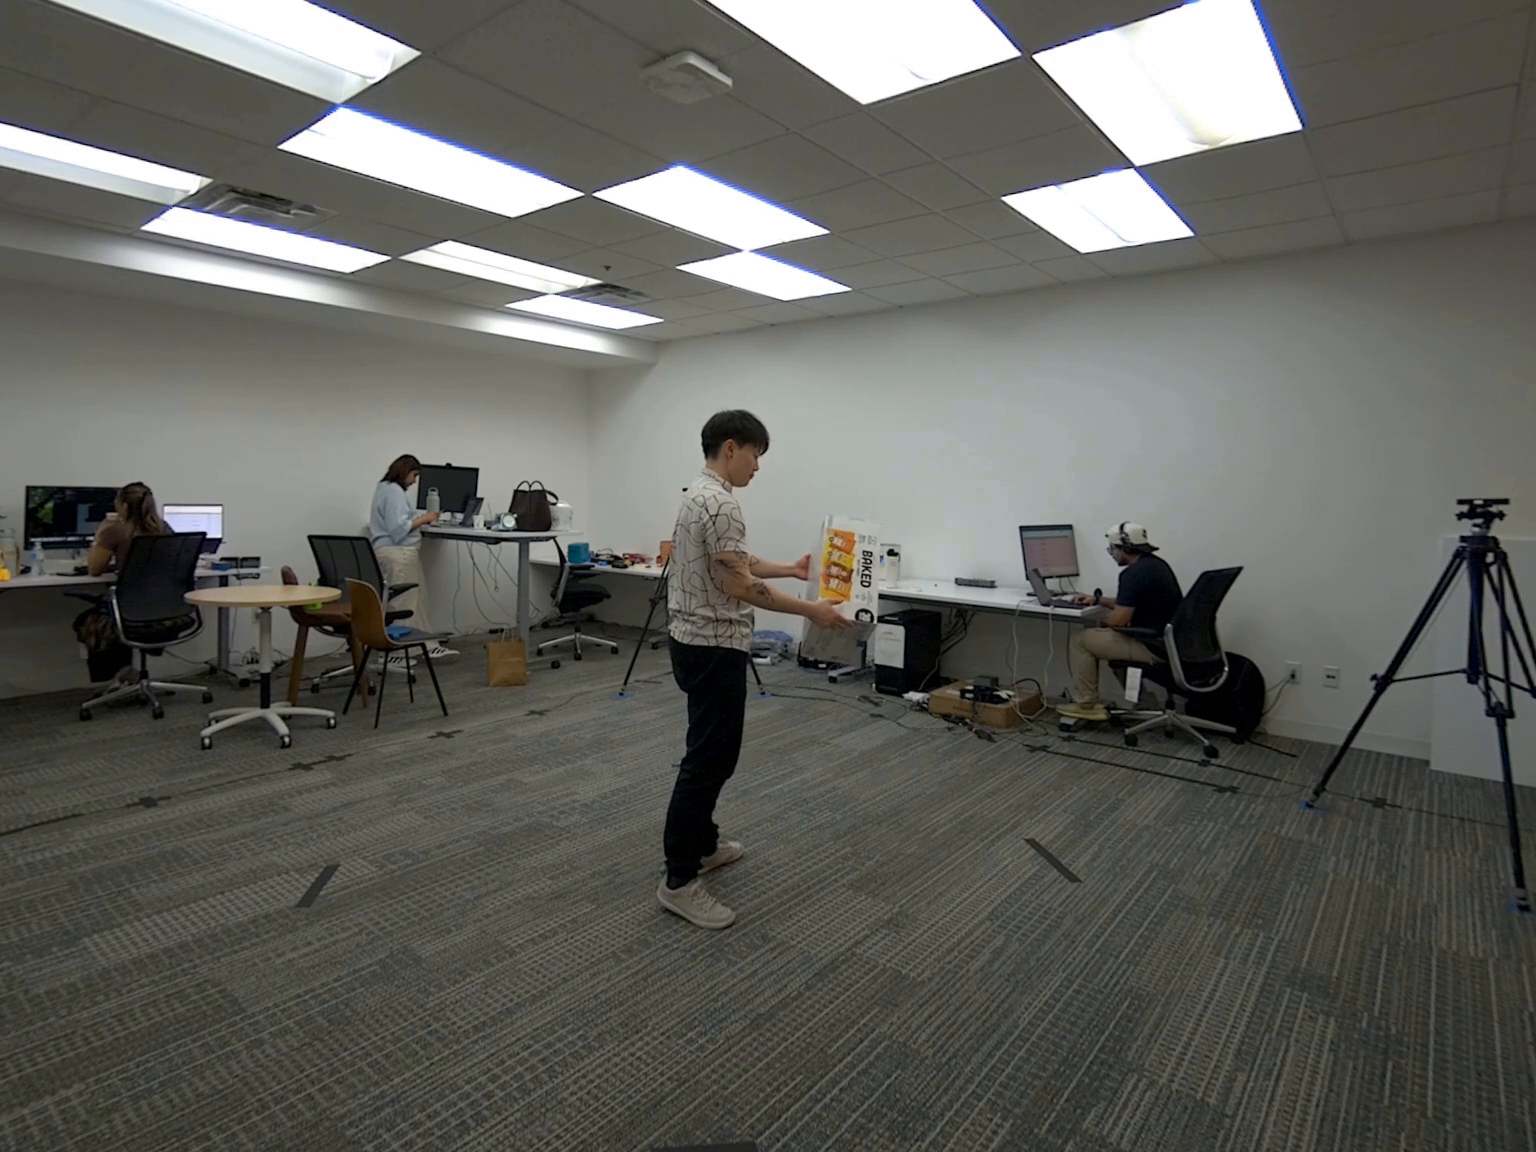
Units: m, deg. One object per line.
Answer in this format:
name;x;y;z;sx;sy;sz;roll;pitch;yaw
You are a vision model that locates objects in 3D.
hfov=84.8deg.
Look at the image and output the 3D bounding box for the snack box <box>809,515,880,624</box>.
snack box;0.252;0.051;3.042;0.206;0.414;0.333;9;-31;-2
